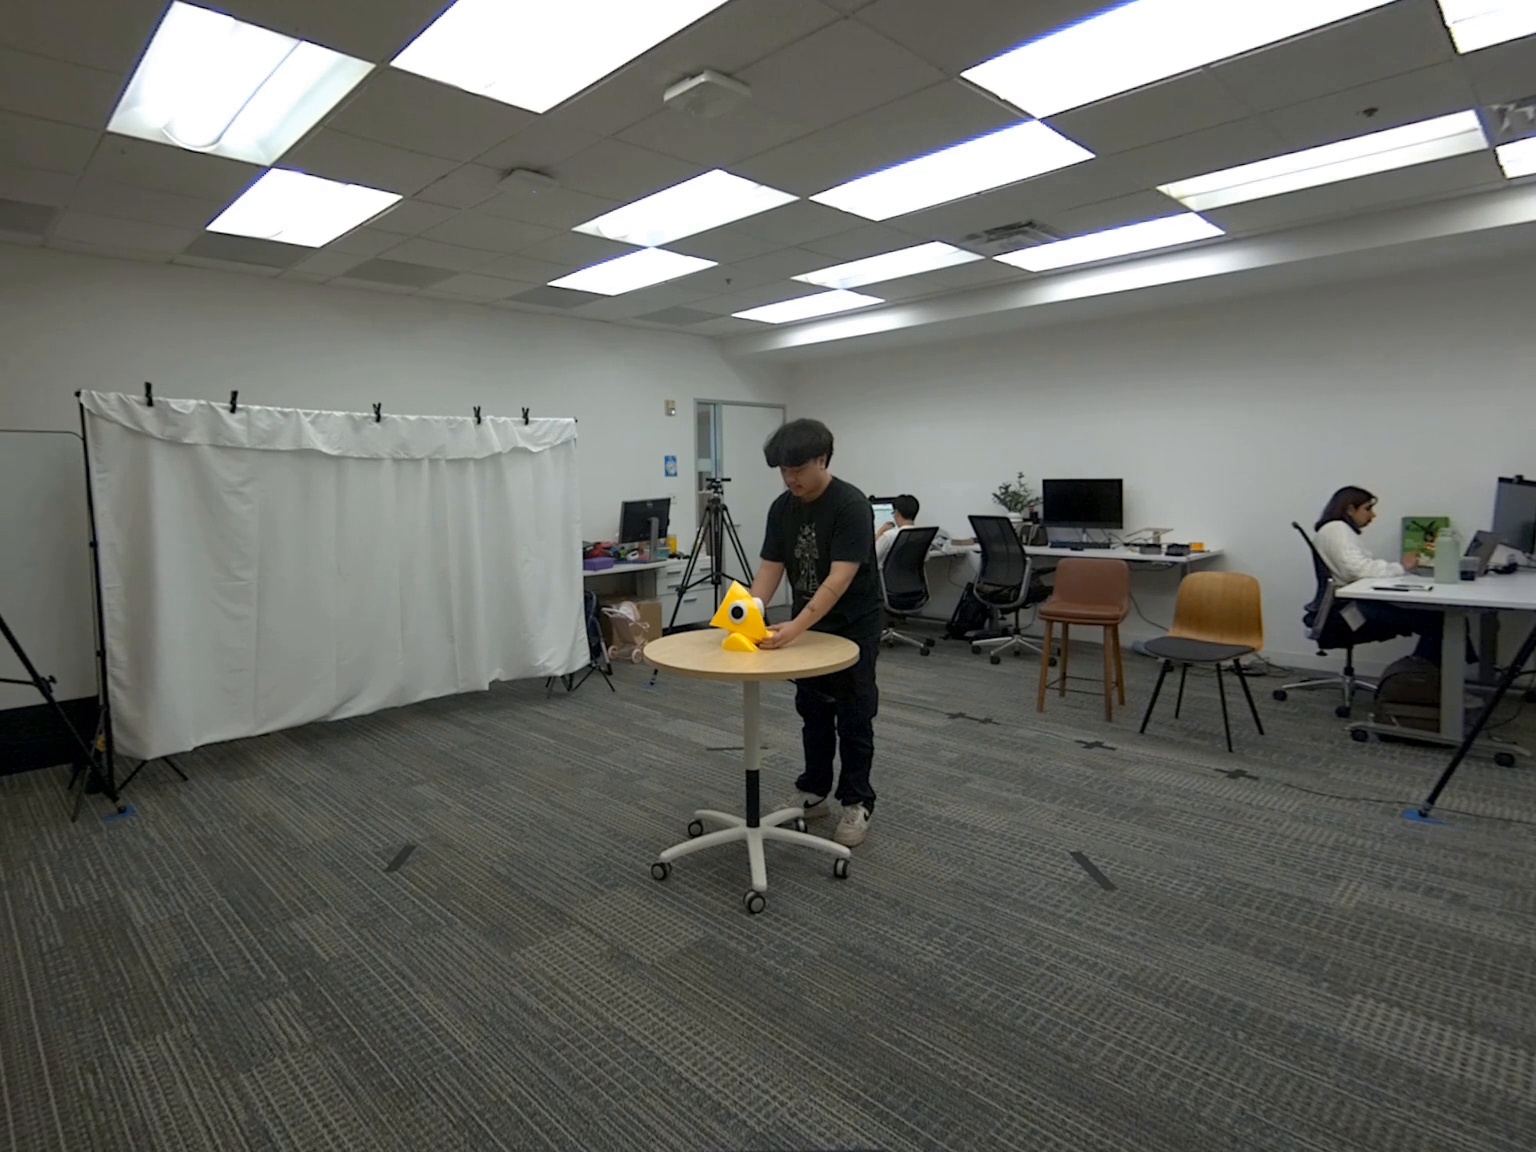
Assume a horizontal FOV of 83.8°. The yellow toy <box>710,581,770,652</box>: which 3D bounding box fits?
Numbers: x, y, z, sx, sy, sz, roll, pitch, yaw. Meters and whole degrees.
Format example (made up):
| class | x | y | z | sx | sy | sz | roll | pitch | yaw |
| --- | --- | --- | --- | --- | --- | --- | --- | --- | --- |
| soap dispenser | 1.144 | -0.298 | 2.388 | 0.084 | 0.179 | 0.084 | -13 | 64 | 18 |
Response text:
| class | x | y | z | sx | sy | sz | roll | pitch | yaw |
| --- | --- | --- | --- | --- | --- | --- | --- | --- | --- |
| yellow toy | -0.066 | 0.137 | 3.072 | 0.199 | 0.229 | 0.199 | 5 | 8 | 43 |
